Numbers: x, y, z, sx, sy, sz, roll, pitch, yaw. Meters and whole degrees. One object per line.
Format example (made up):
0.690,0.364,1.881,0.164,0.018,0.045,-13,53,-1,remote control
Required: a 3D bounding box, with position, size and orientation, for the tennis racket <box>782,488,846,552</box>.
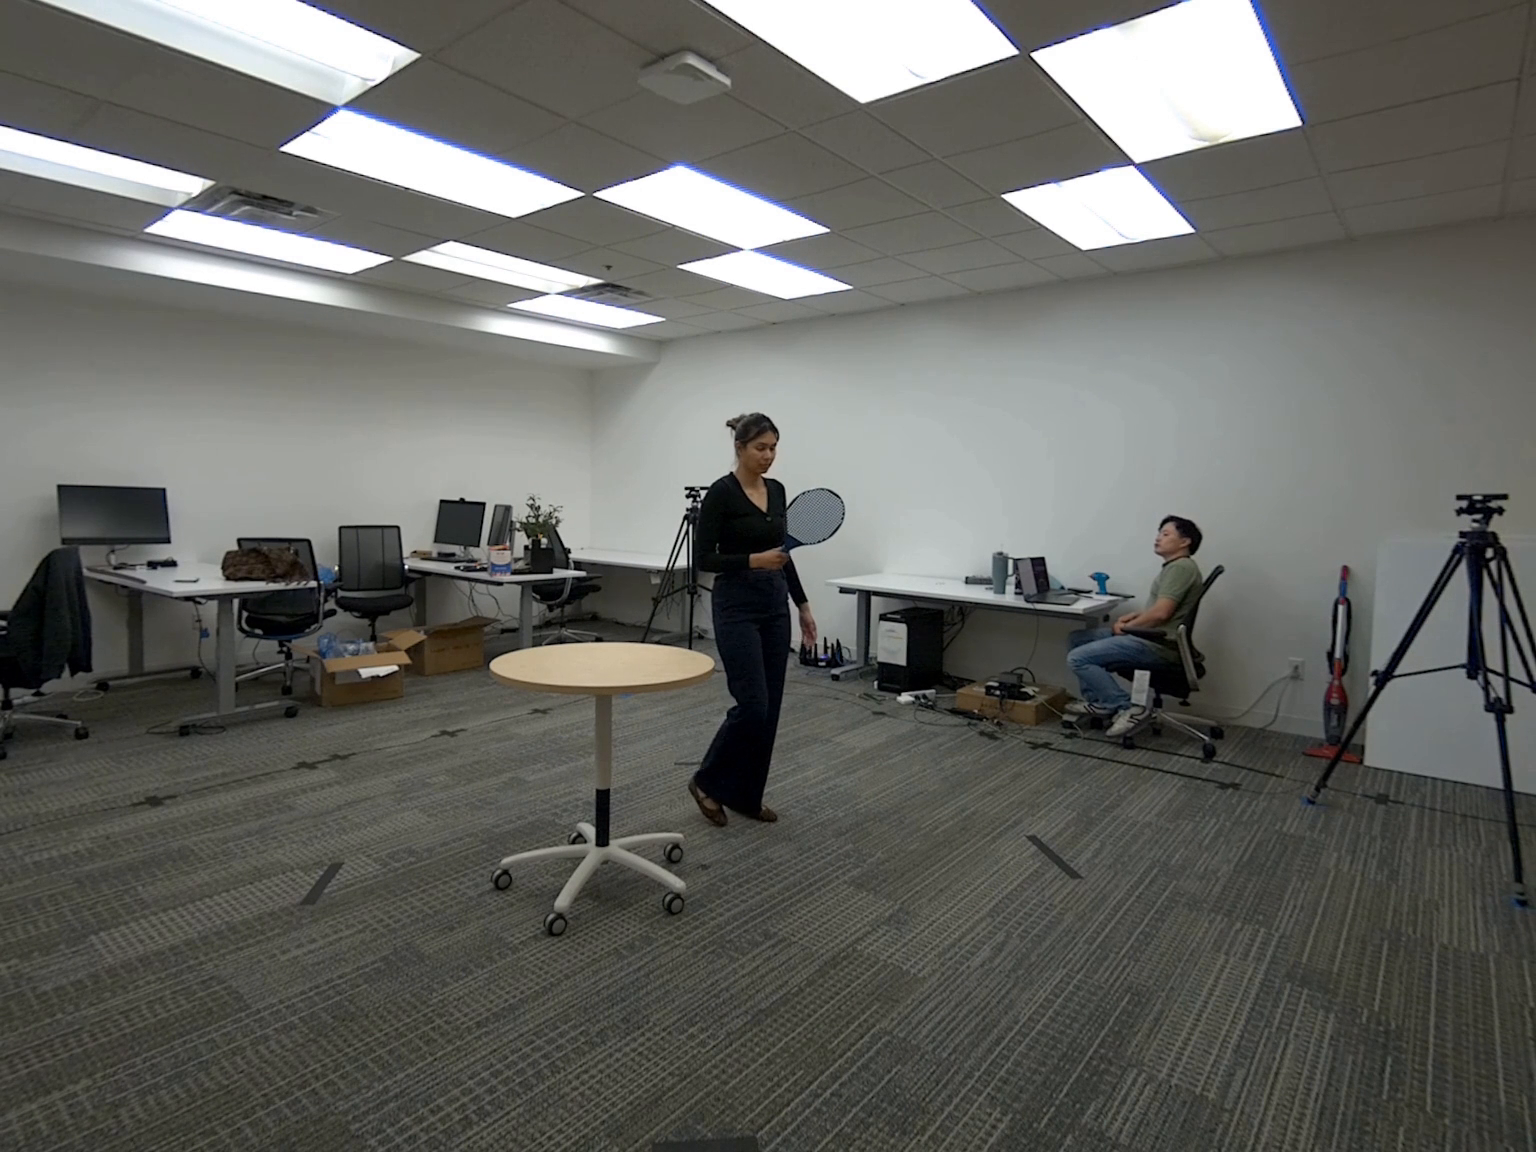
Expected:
0.114,-0.177,3.283,0.434,0.212,0.032,-43,8,29,tennis racket
